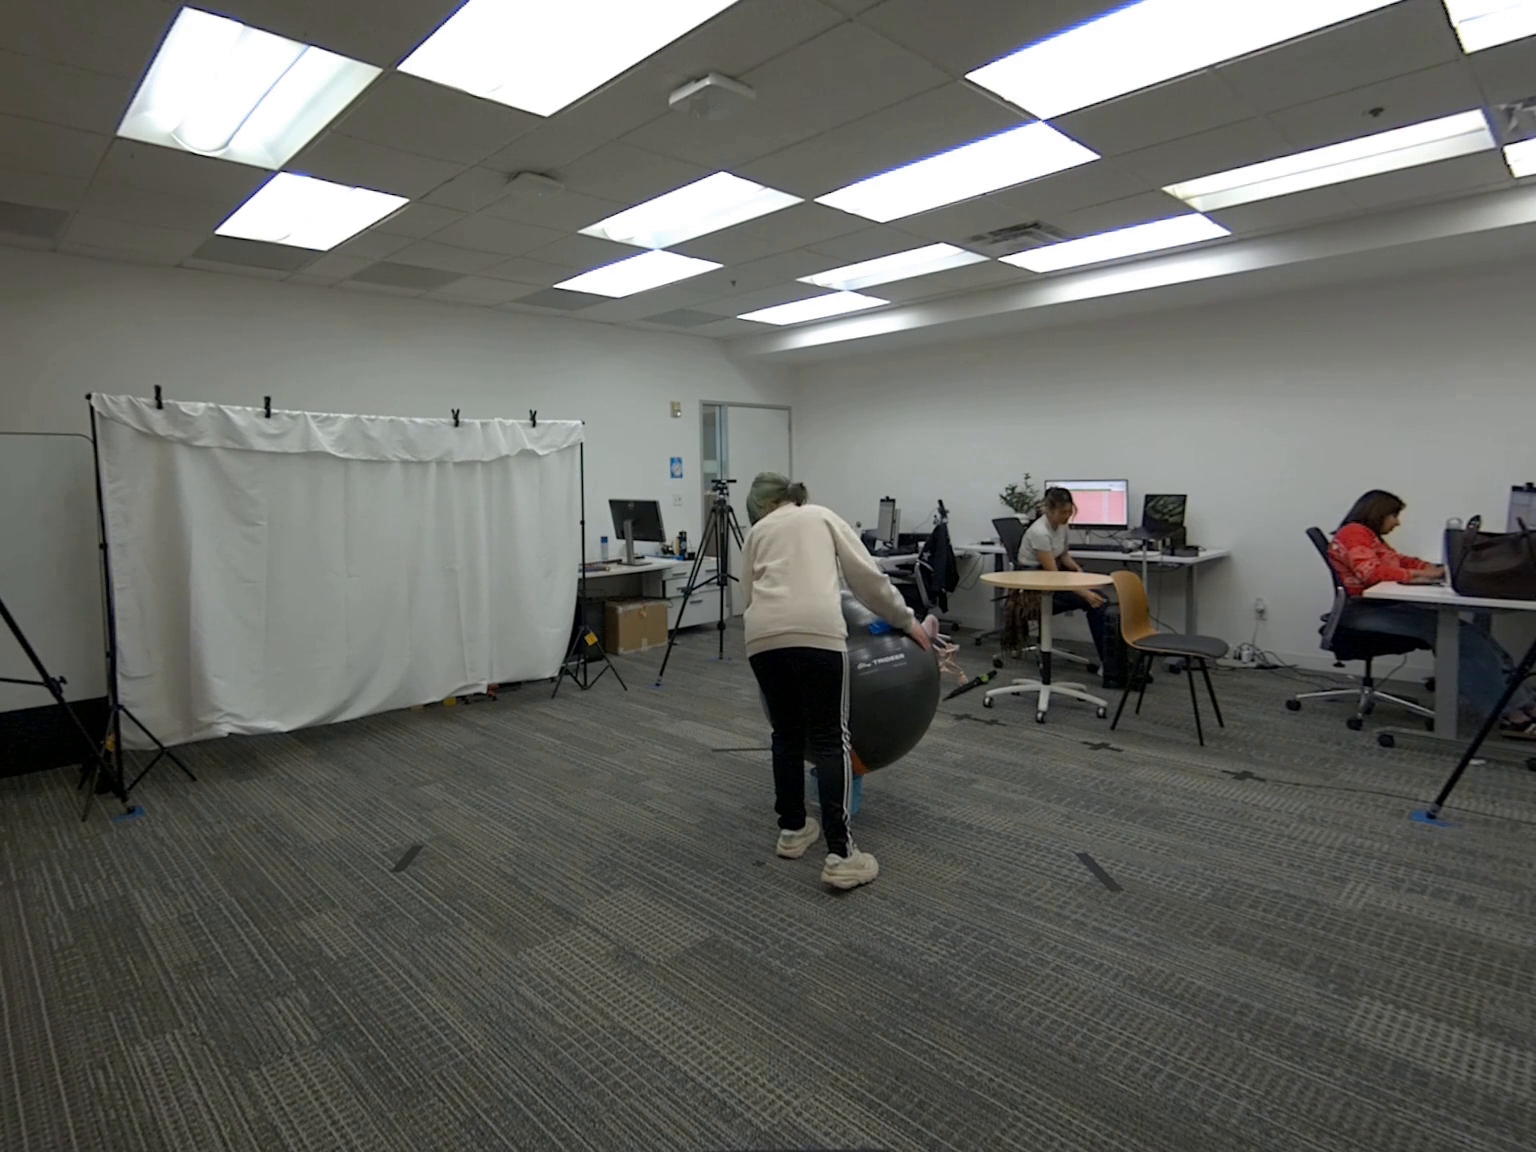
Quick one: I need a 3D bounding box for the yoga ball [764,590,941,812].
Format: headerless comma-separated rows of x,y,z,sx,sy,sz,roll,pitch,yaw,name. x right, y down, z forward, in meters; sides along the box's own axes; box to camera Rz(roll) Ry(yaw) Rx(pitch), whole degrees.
0.345,0.430,3.579,0.757,0.755,0.762,-1,5,-2,yoga ball
